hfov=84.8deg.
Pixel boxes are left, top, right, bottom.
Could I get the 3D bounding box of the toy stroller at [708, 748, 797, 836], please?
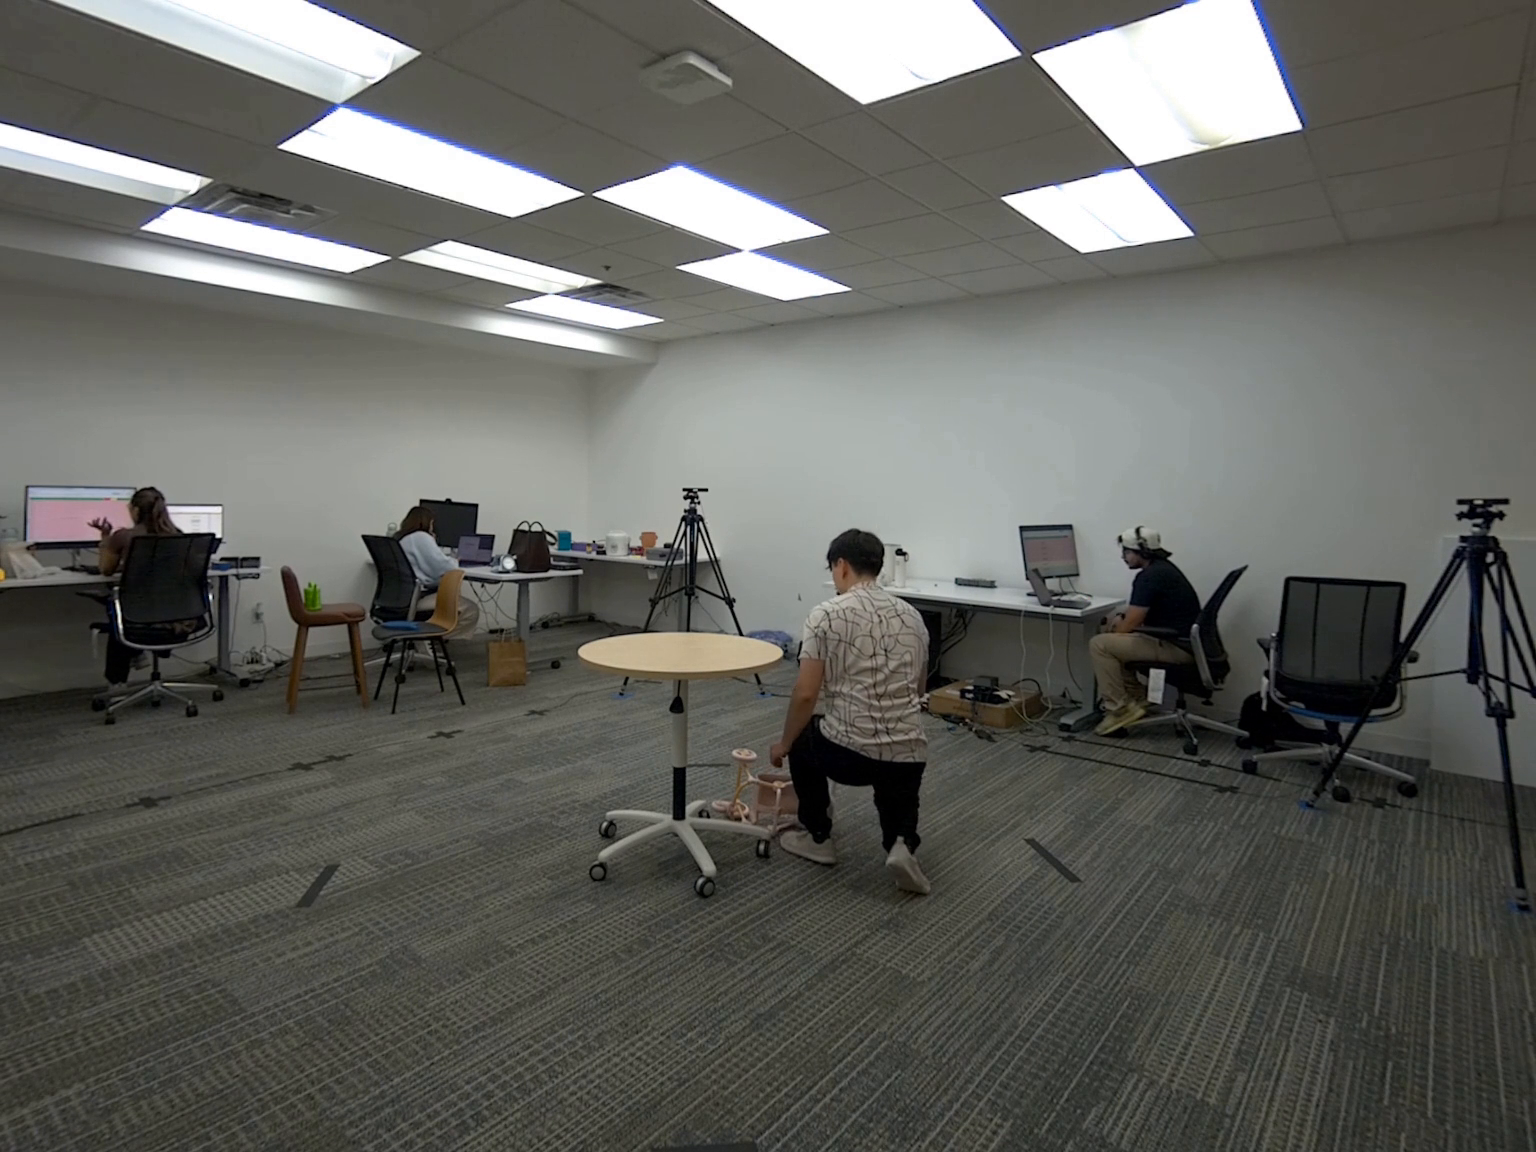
[{"bbox_3d":[0.030,0.908,3.495,0.535,0.280,0.343,8,6,0],"label":"toy stroller"}]
